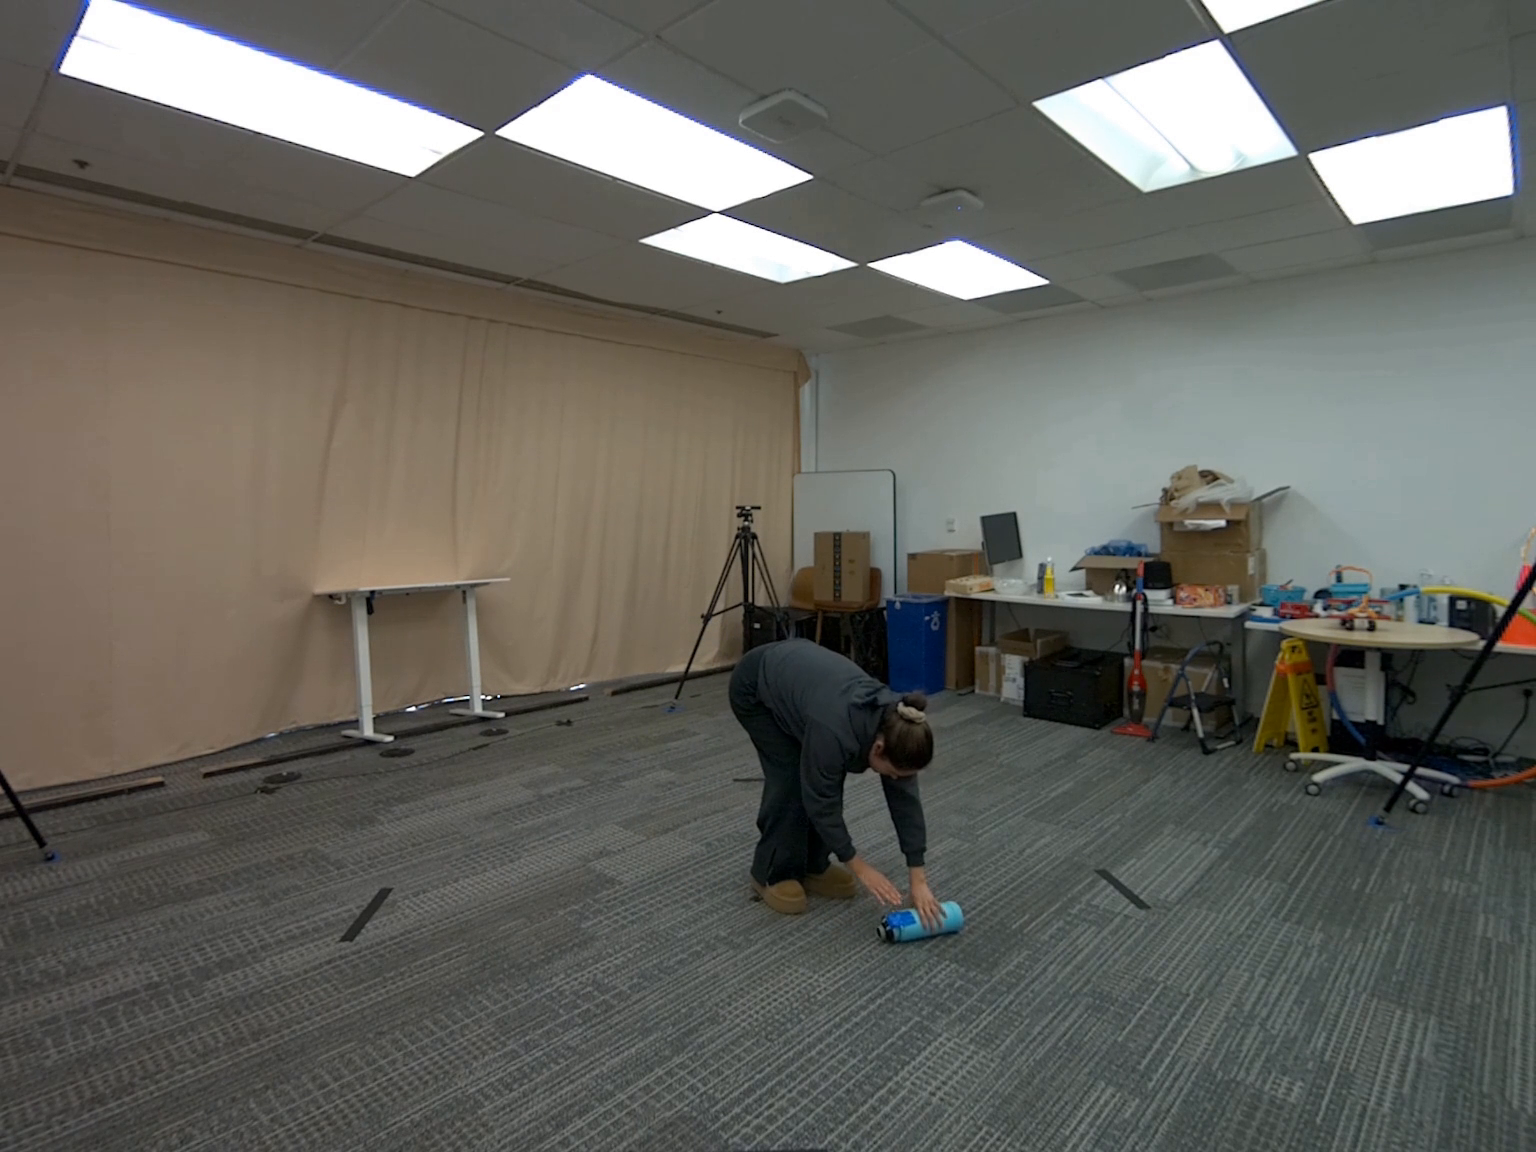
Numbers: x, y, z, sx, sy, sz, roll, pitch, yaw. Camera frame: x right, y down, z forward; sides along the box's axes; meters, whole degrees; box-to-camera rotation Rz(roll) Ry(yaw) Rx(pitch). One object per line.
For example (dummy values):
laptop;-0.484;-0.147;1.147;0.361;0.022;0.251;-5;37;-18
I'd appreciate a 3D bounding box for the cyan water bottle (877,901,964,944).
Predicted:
cyan water bottle;0.512;1.106;2.711;0.278;0.092;0.094;-1;4;-18
